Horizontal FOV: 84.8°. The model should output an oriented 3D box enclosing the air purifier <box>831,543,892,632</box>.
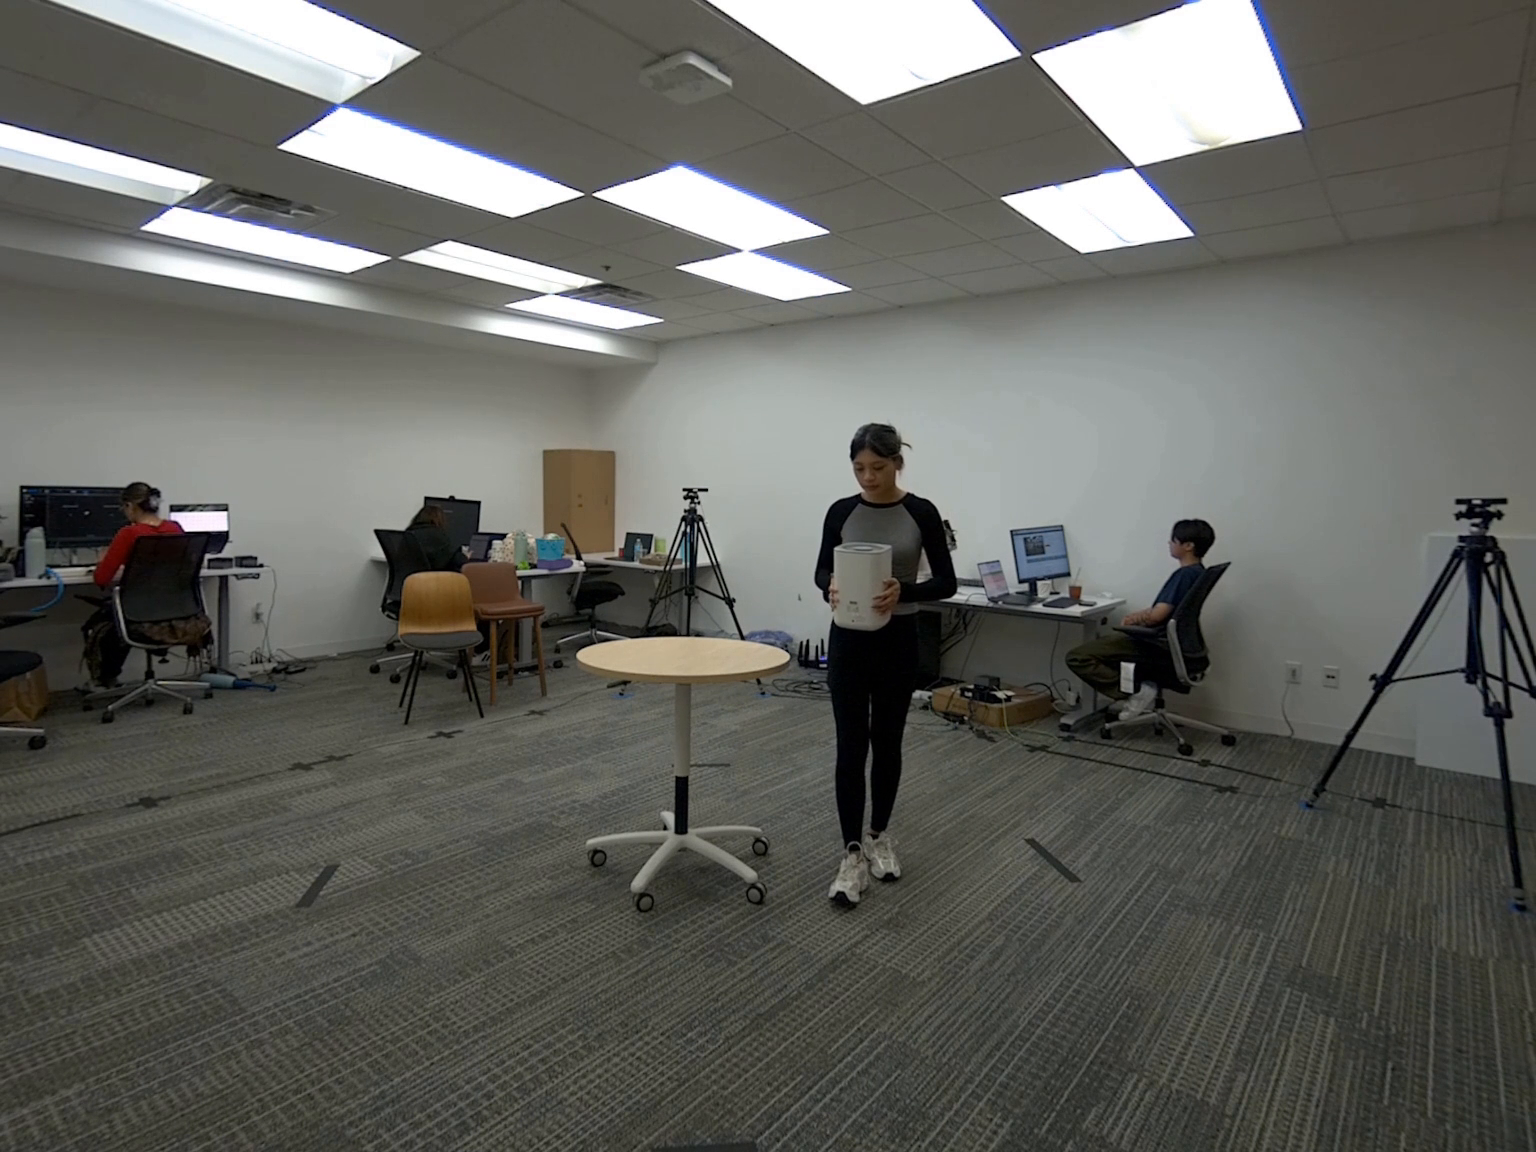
[{"bbox_3d":[0.310,0.030,2.832,0.176,0.263,0.168,5,11,26],"label":"air purifier"}]
